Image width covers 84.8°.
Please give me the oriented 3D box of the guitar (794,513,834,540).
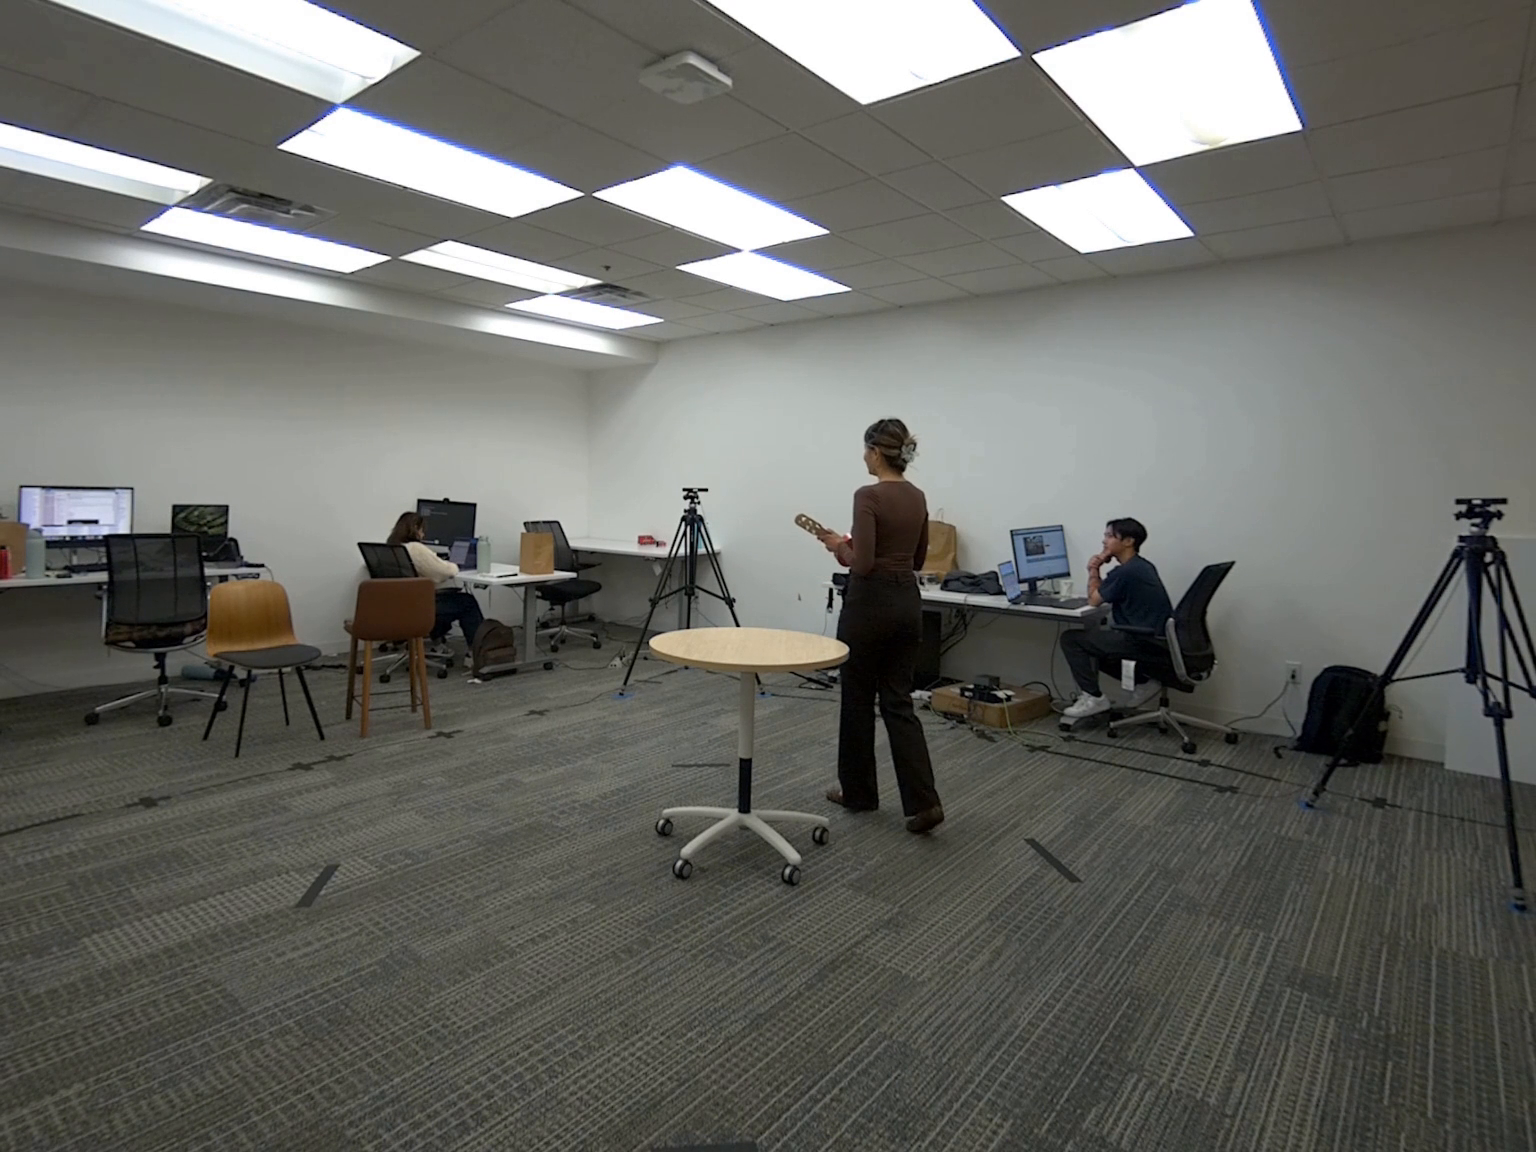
[{"bbox_3d":[0.321,-0.107,3.767,0.488,0.192,0.072,23,12,-14],"label":"guitar"}]
